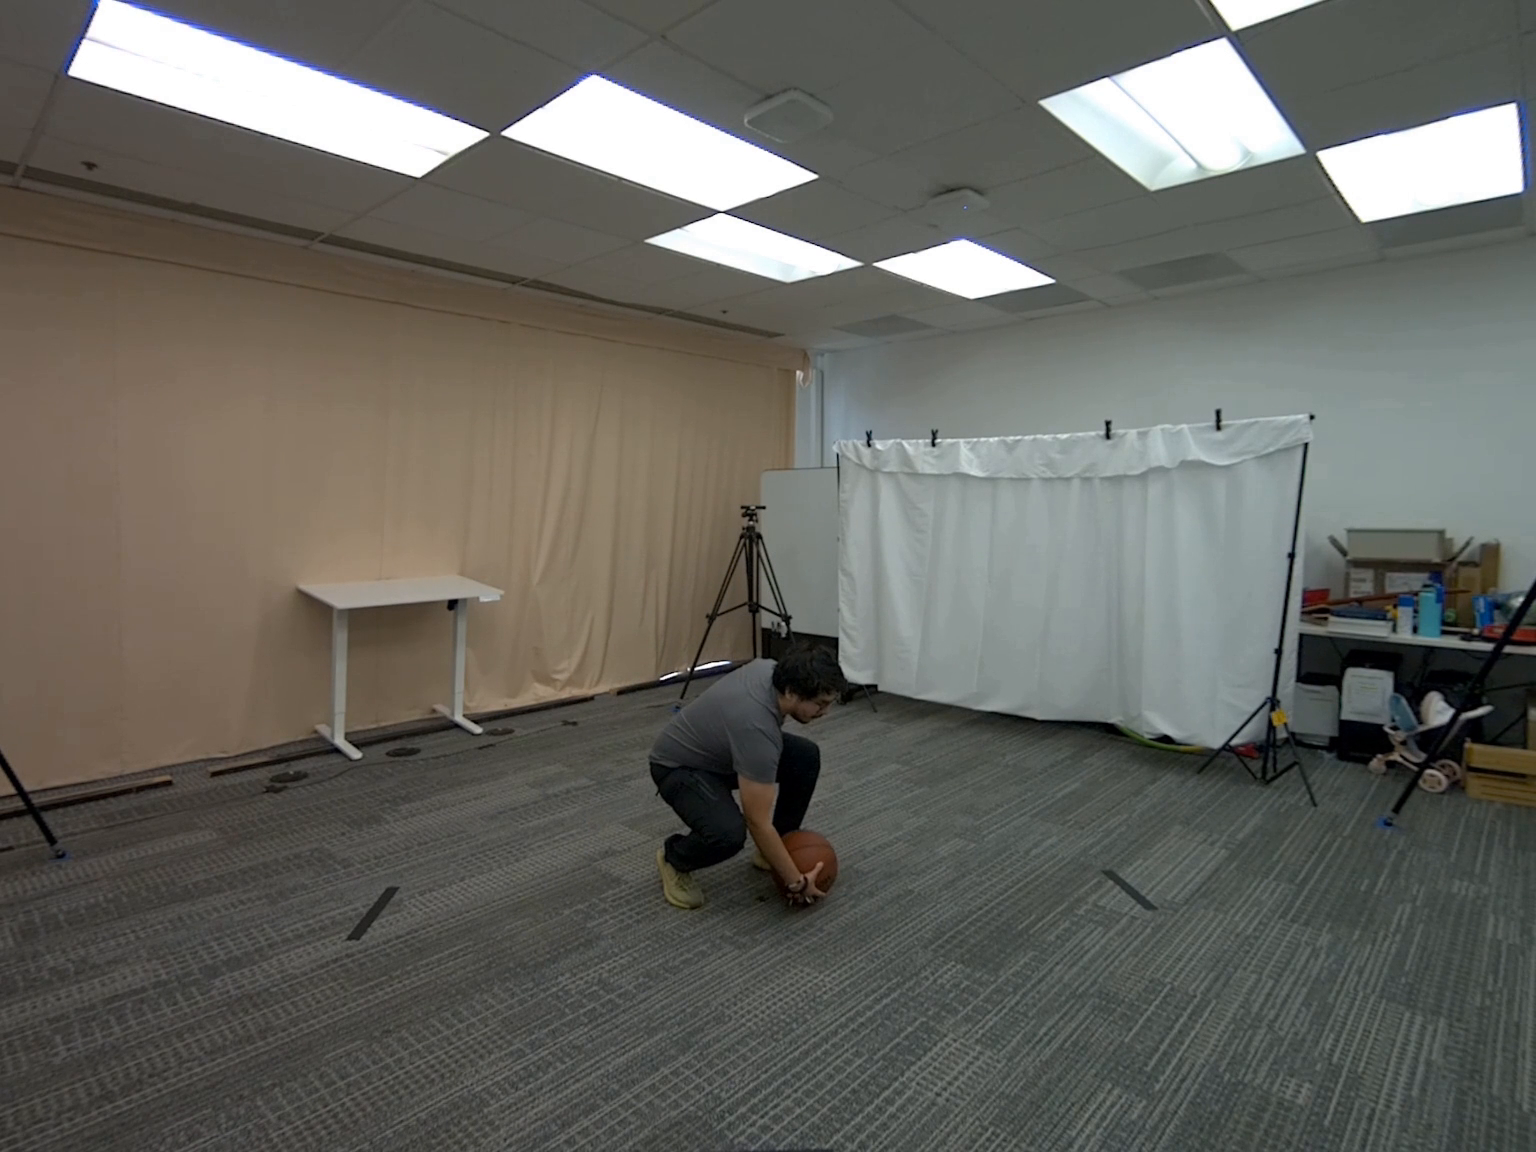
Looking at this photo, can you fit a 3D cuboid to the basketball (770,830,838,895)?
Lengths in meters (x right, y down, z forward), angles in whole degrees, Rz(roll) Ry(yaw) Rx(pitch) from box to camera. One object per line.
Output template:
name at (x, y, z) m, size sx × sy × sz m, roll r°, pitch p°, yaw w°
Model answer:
basketball at (0.132, 1.027, 2.982) m, size 0.236 × 0.235 × 0.237 m, roll 0°, pitch 4°, yaw -2°
